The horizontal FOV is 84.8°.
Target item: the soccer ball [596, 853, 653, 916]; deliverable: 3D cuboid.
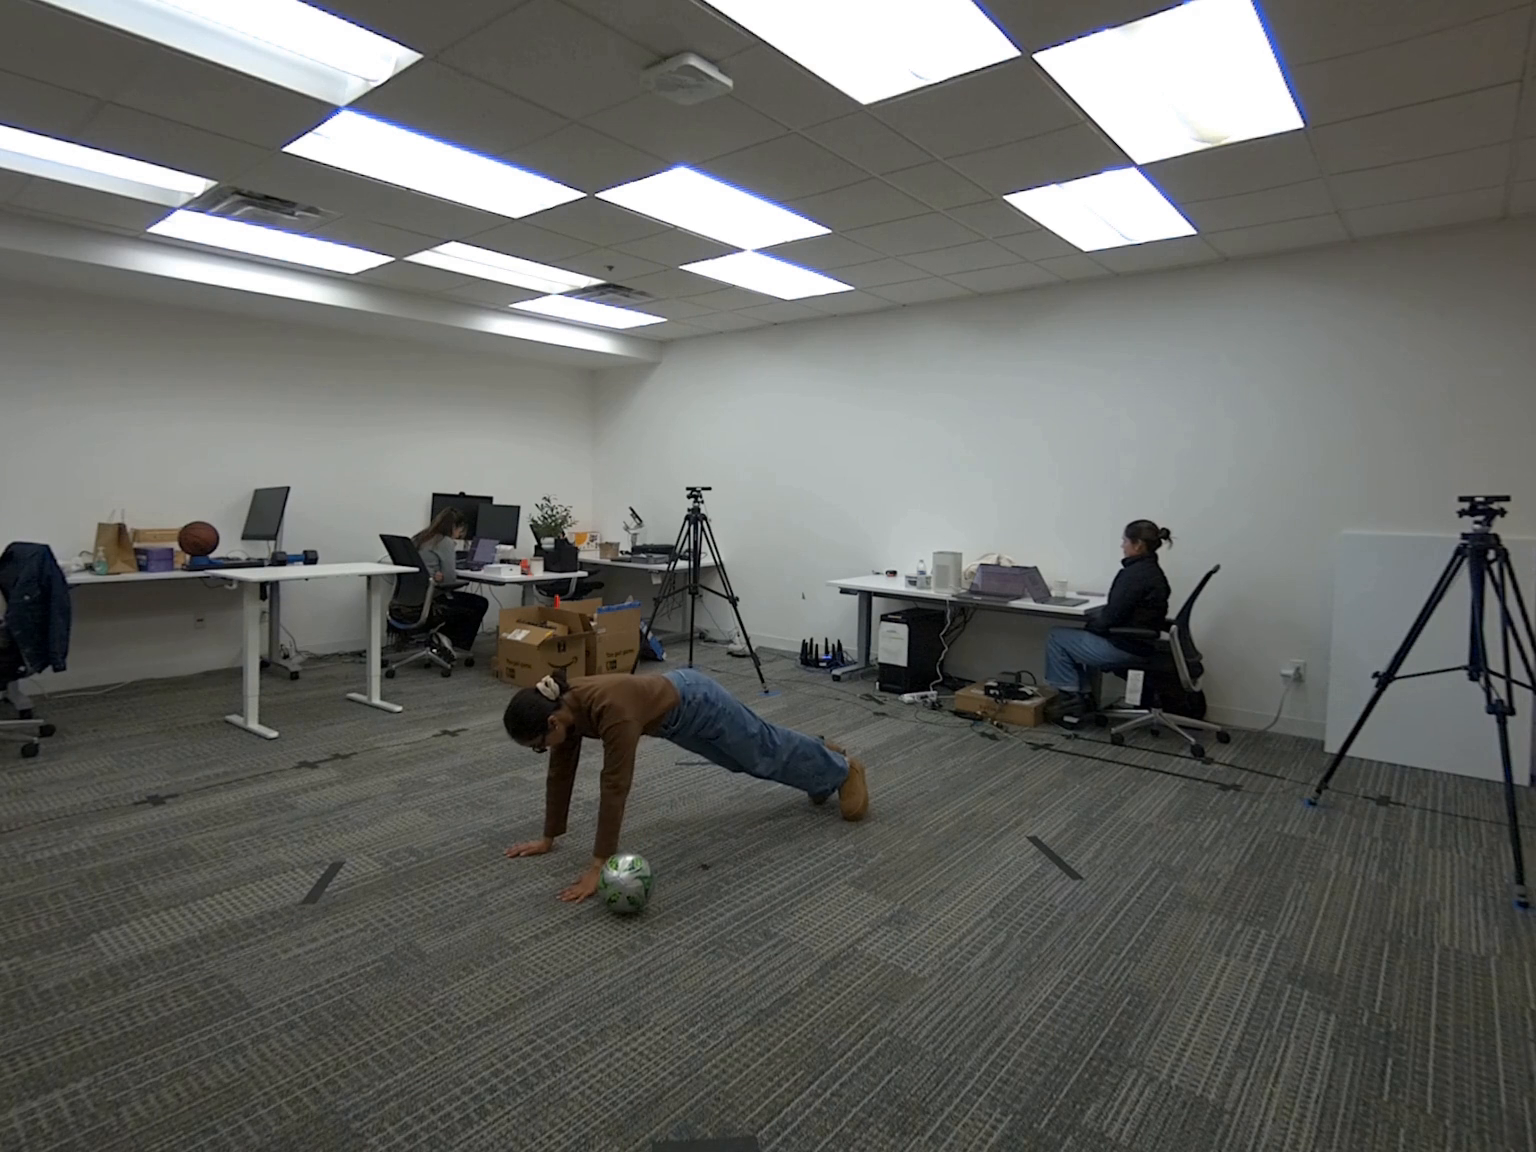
[{"bbox_3d":[-0.475,0.998,2.781,0.187,0.187,0.188,1,4,-2],"label":"soccer ball"}]
